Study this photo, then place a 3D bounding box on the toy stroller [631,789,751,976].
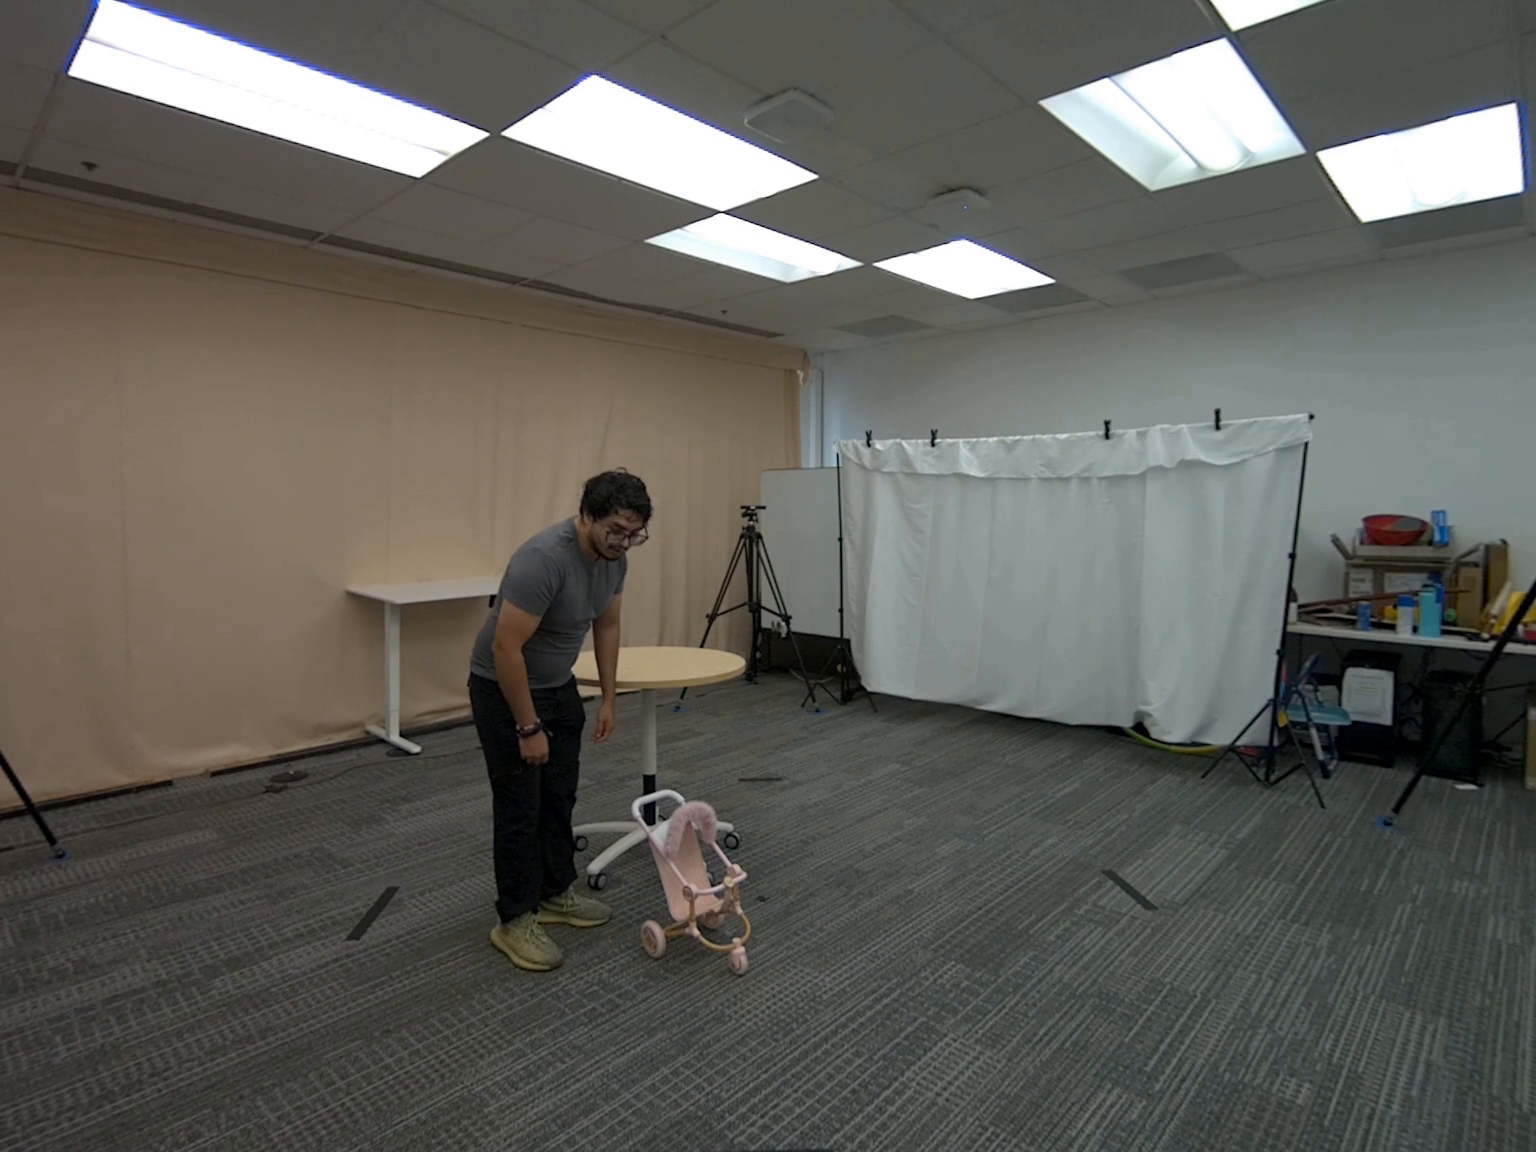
[{"bbox_3d":[-0.221,0.949,2.625,0.273,0.539,0.349,-3,-11,-42],"label":"toy stroller"}]
